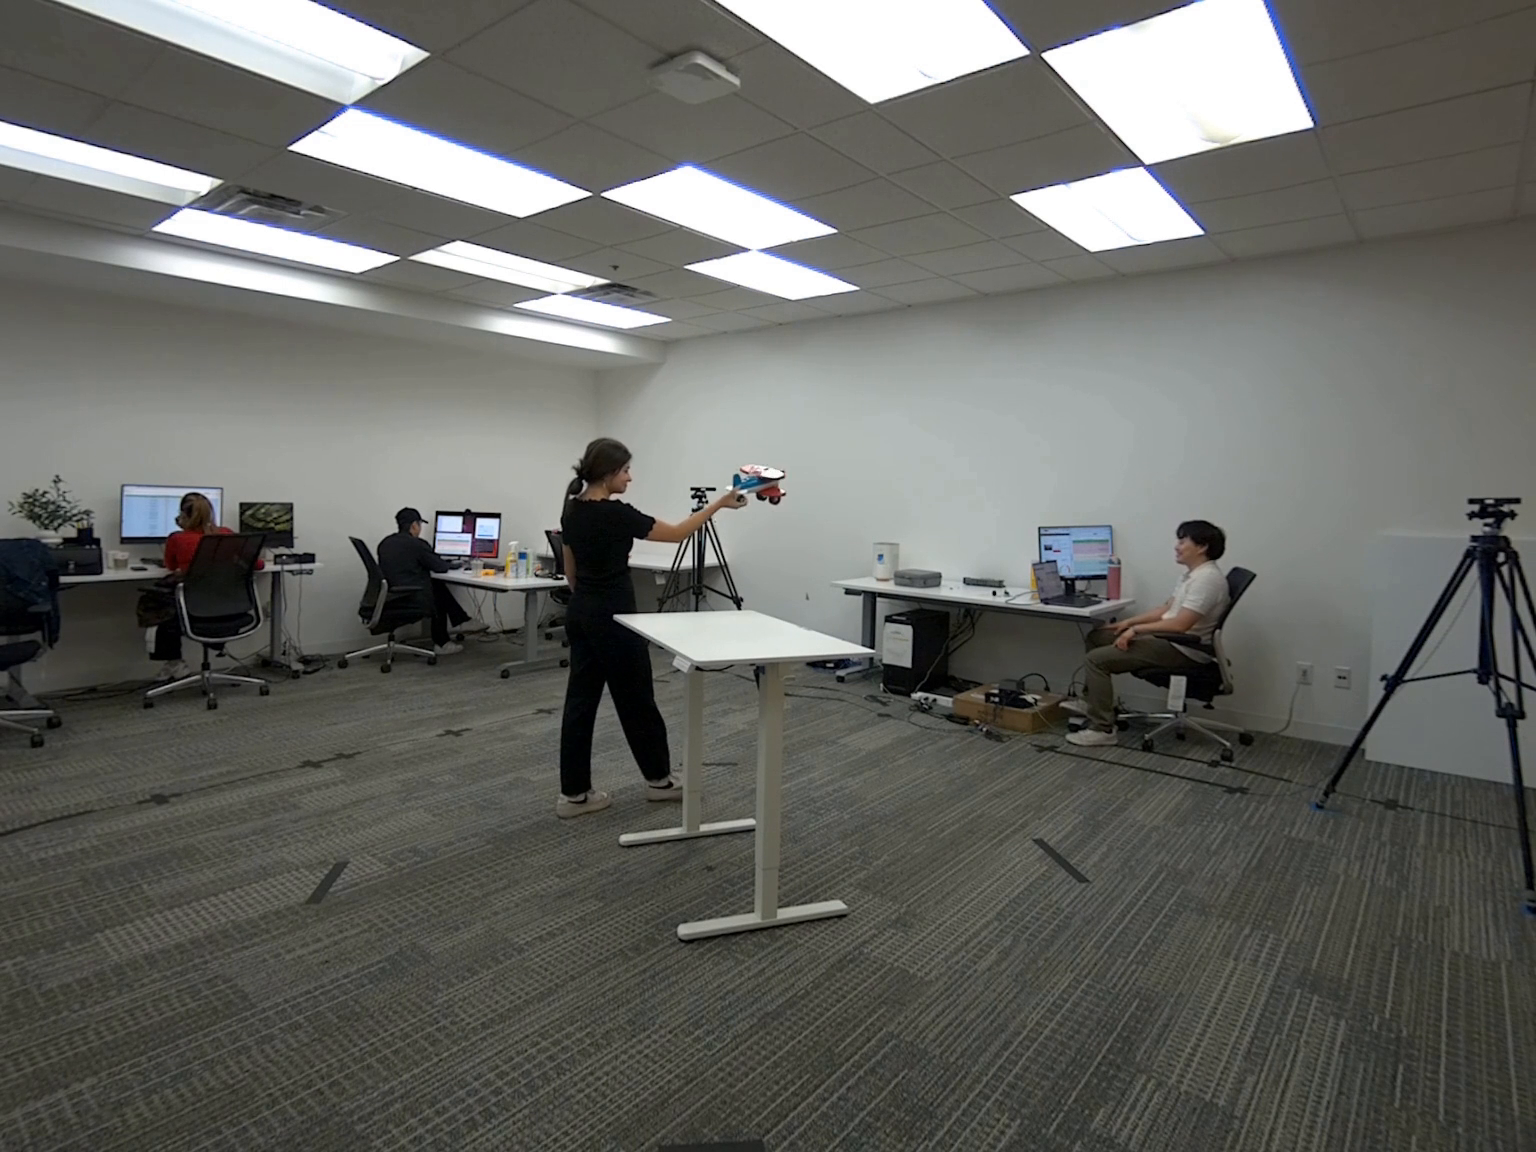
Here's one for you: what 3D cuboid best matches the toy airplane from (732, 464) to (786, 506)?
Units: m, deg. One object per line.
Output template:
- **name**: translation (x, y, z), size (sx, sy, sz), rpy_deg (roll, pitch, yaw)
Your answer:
- **toy airplane**: translation (-0.049, -0.396, 3.700), size (0.257, 0.155, 0.256), rpy_deg (11, 13, 19)
